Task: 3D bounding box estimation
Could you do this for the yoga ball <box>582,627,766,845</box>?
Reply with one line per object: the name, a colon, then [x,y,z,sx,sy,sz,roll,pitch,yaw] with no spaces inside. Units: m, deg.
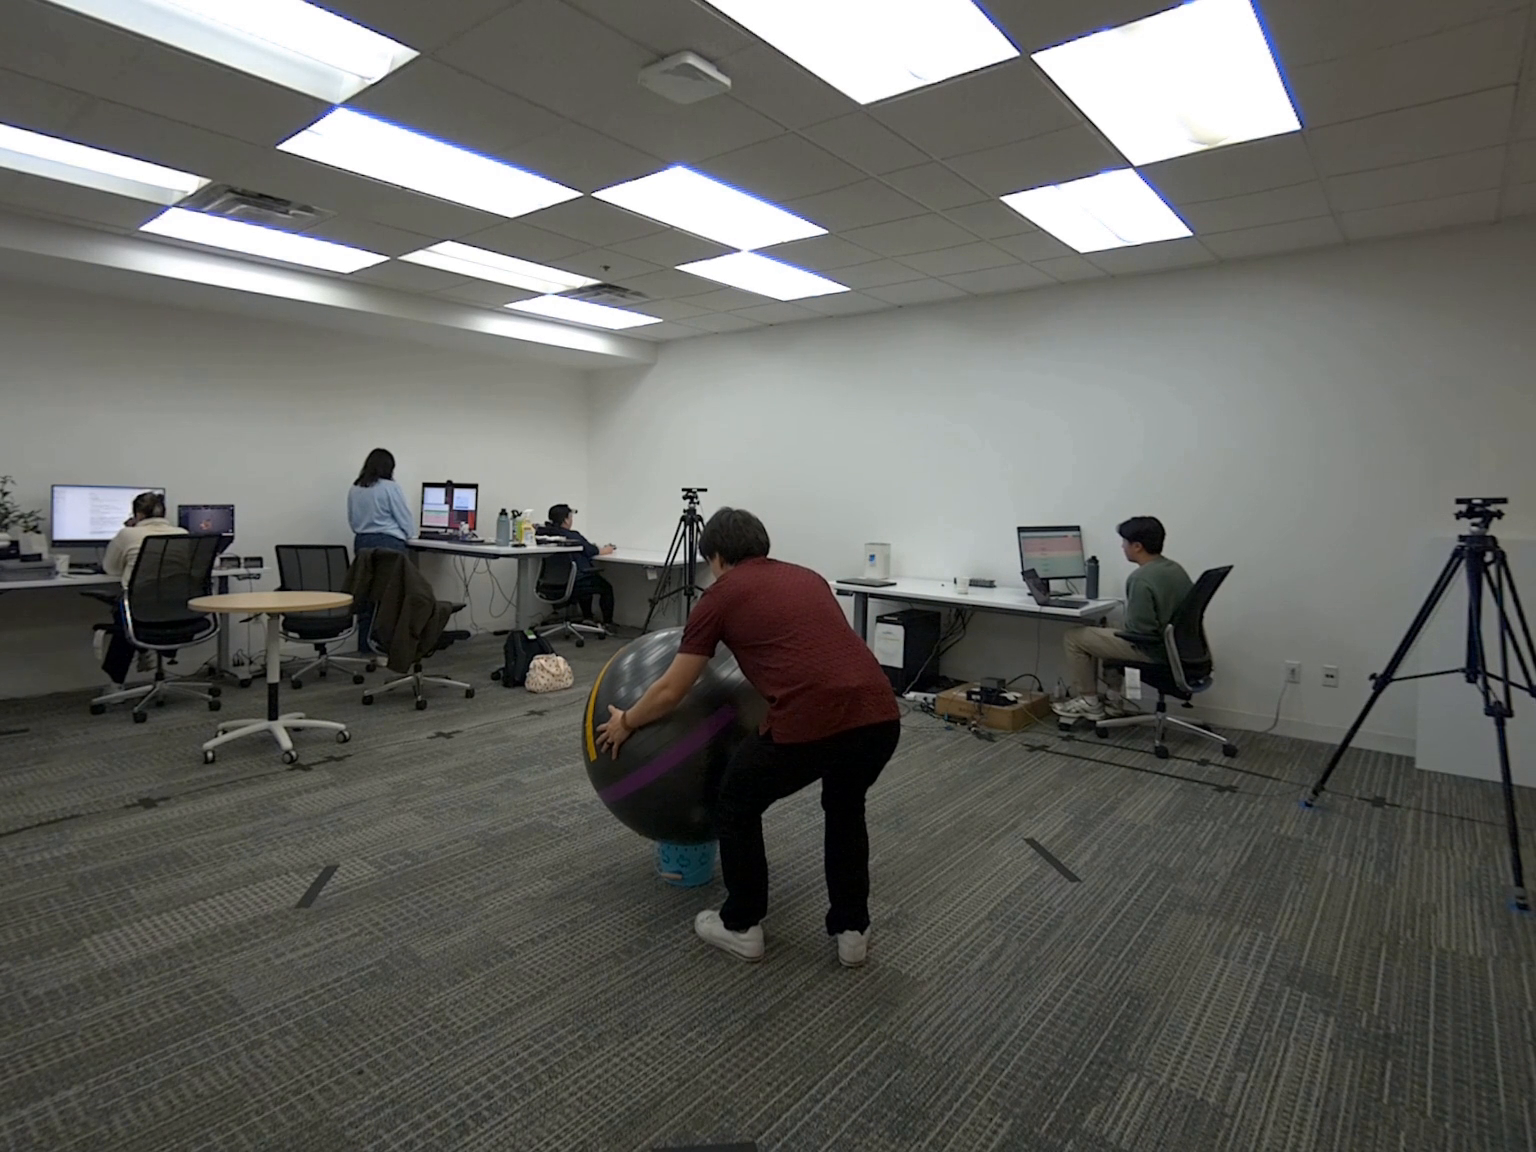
yoga ball: [-0.297,0.569,3.050,0.757,0.756,0.761,1,4,-2]
